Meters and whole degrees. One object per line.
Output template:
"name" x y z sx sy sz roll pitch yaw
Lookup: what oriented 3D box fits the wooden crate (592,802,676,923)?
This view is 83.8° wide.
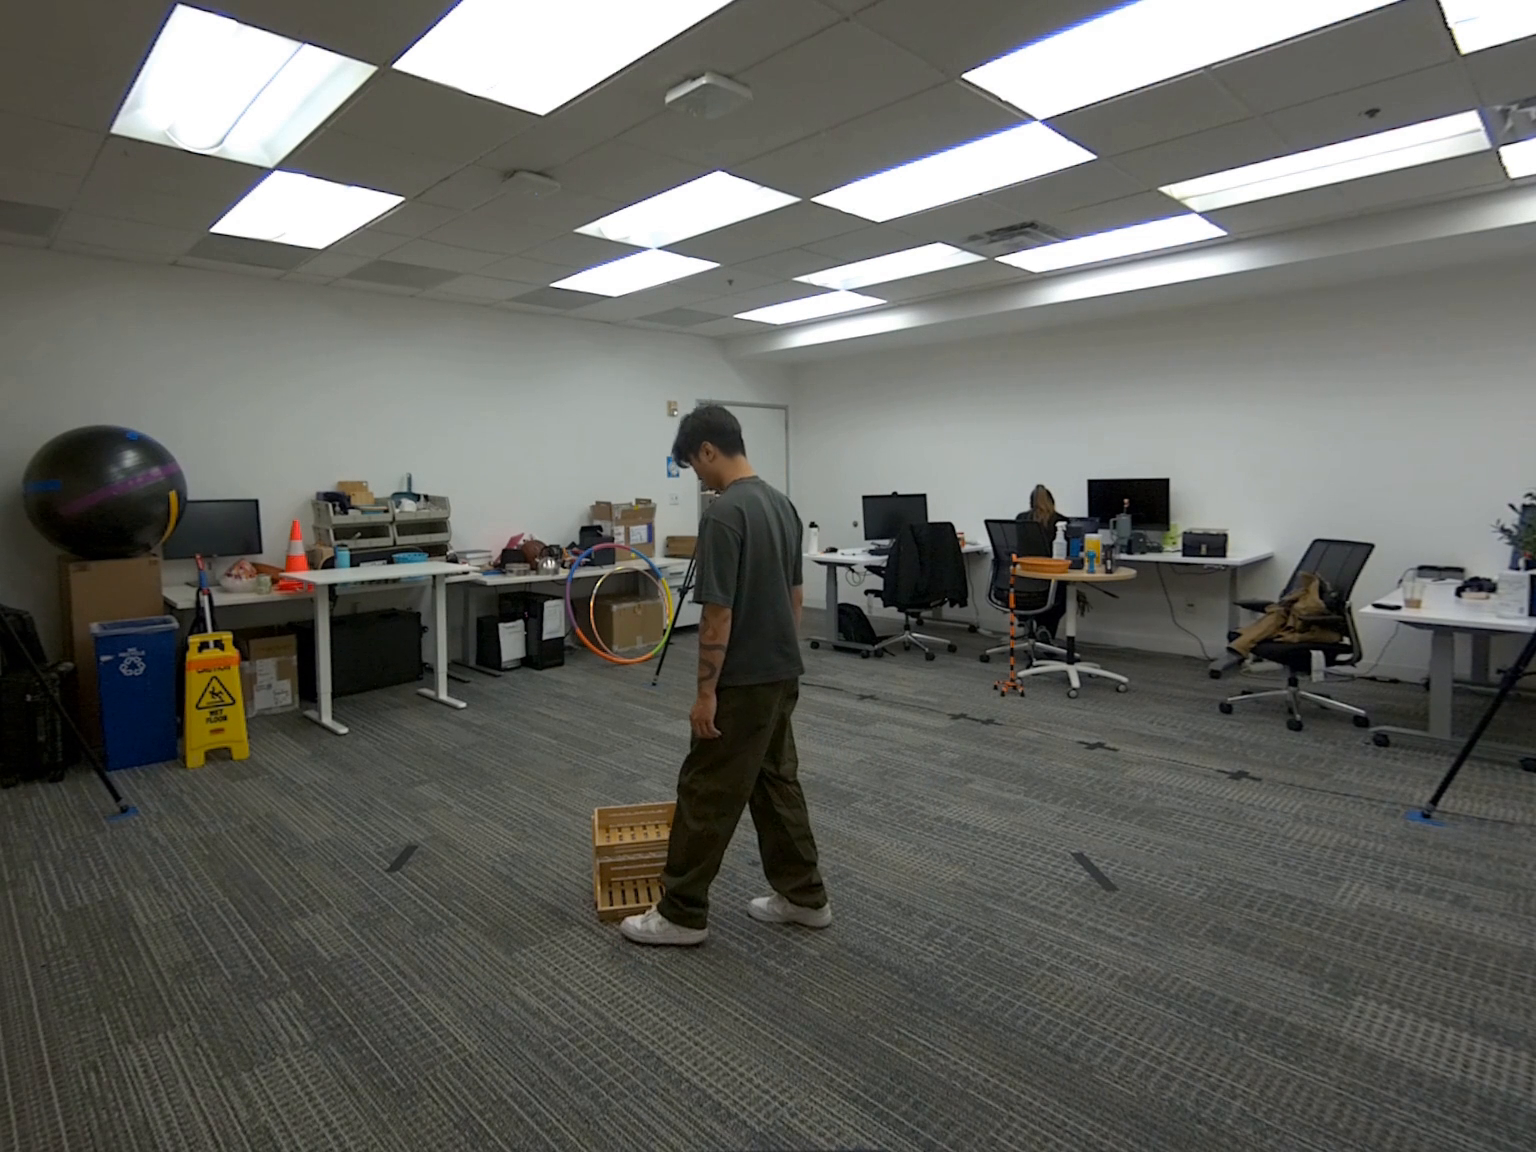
"wooden crate" -0.421 0.943 2.859 0.321 0.272 0.306 -2 5 -11
